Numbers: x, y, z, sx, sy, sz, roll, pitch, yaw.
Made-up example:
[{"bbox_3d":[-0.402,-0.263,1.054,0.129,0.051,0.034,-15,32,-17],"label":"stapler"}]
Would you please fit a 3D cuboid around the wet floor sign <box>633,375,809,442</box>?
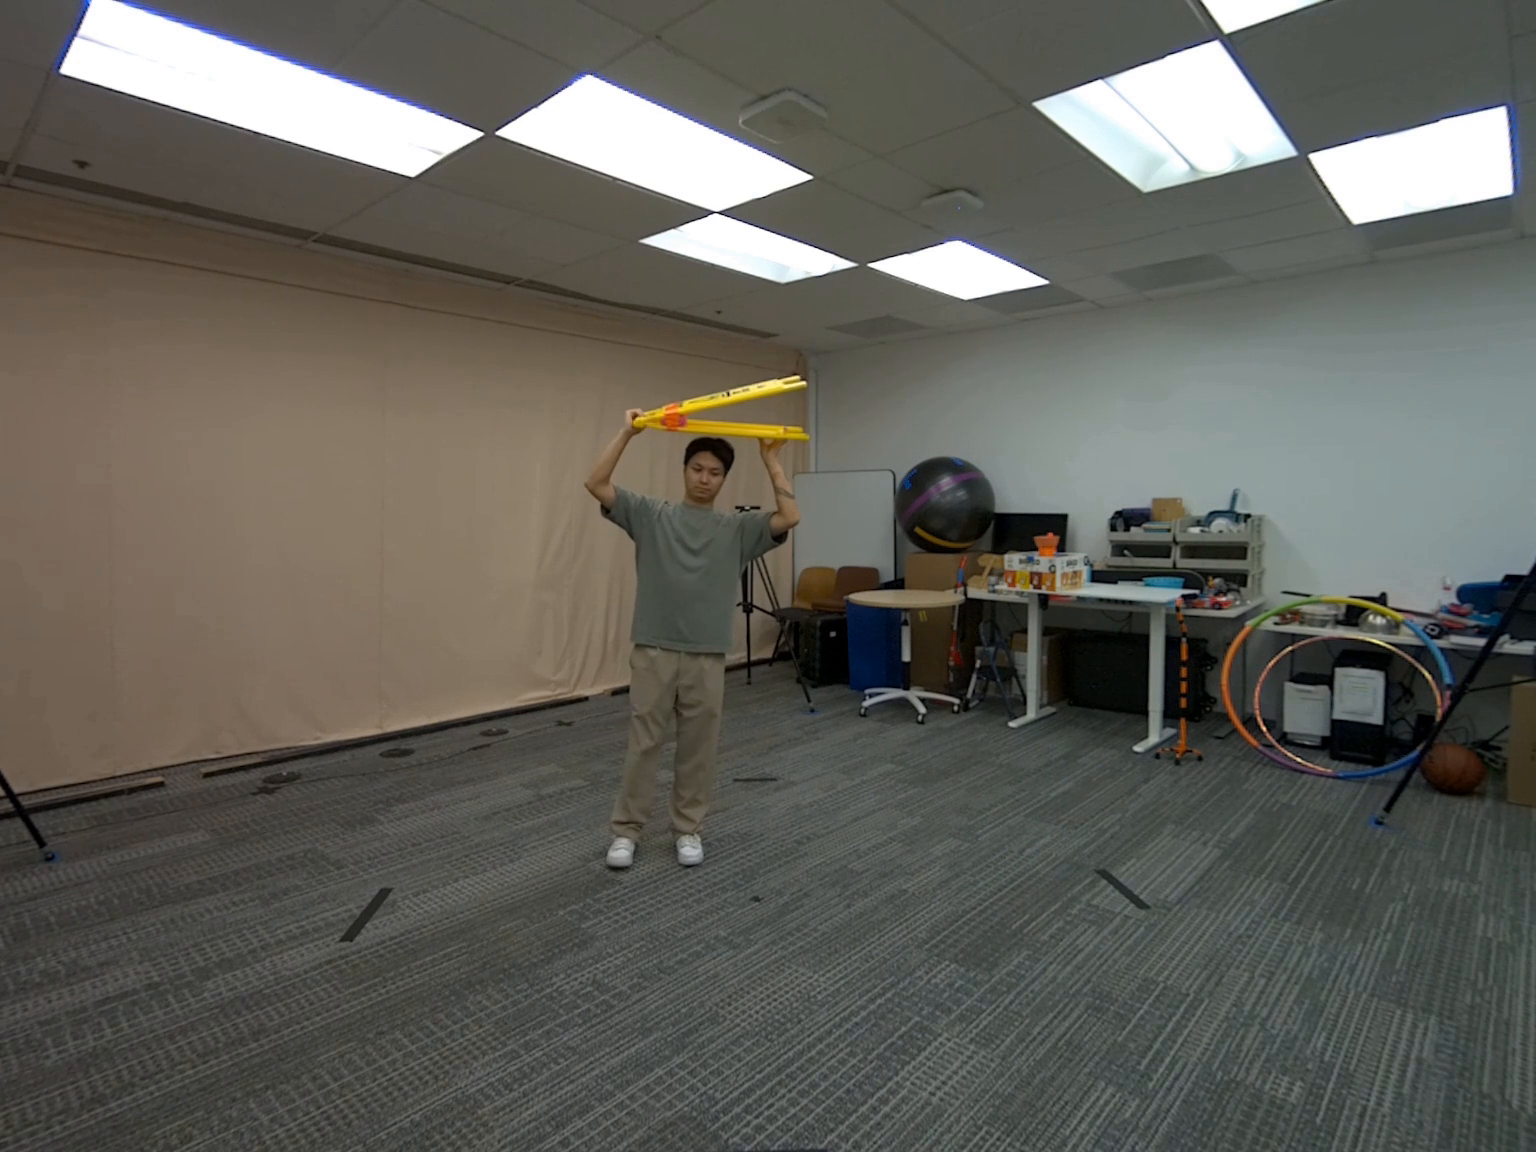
[{"bbox_3d":[-0.188,-0.619,3.230,0.644,0.286,0.286,-2,18,-3],"label":"wet floor sign"}]
